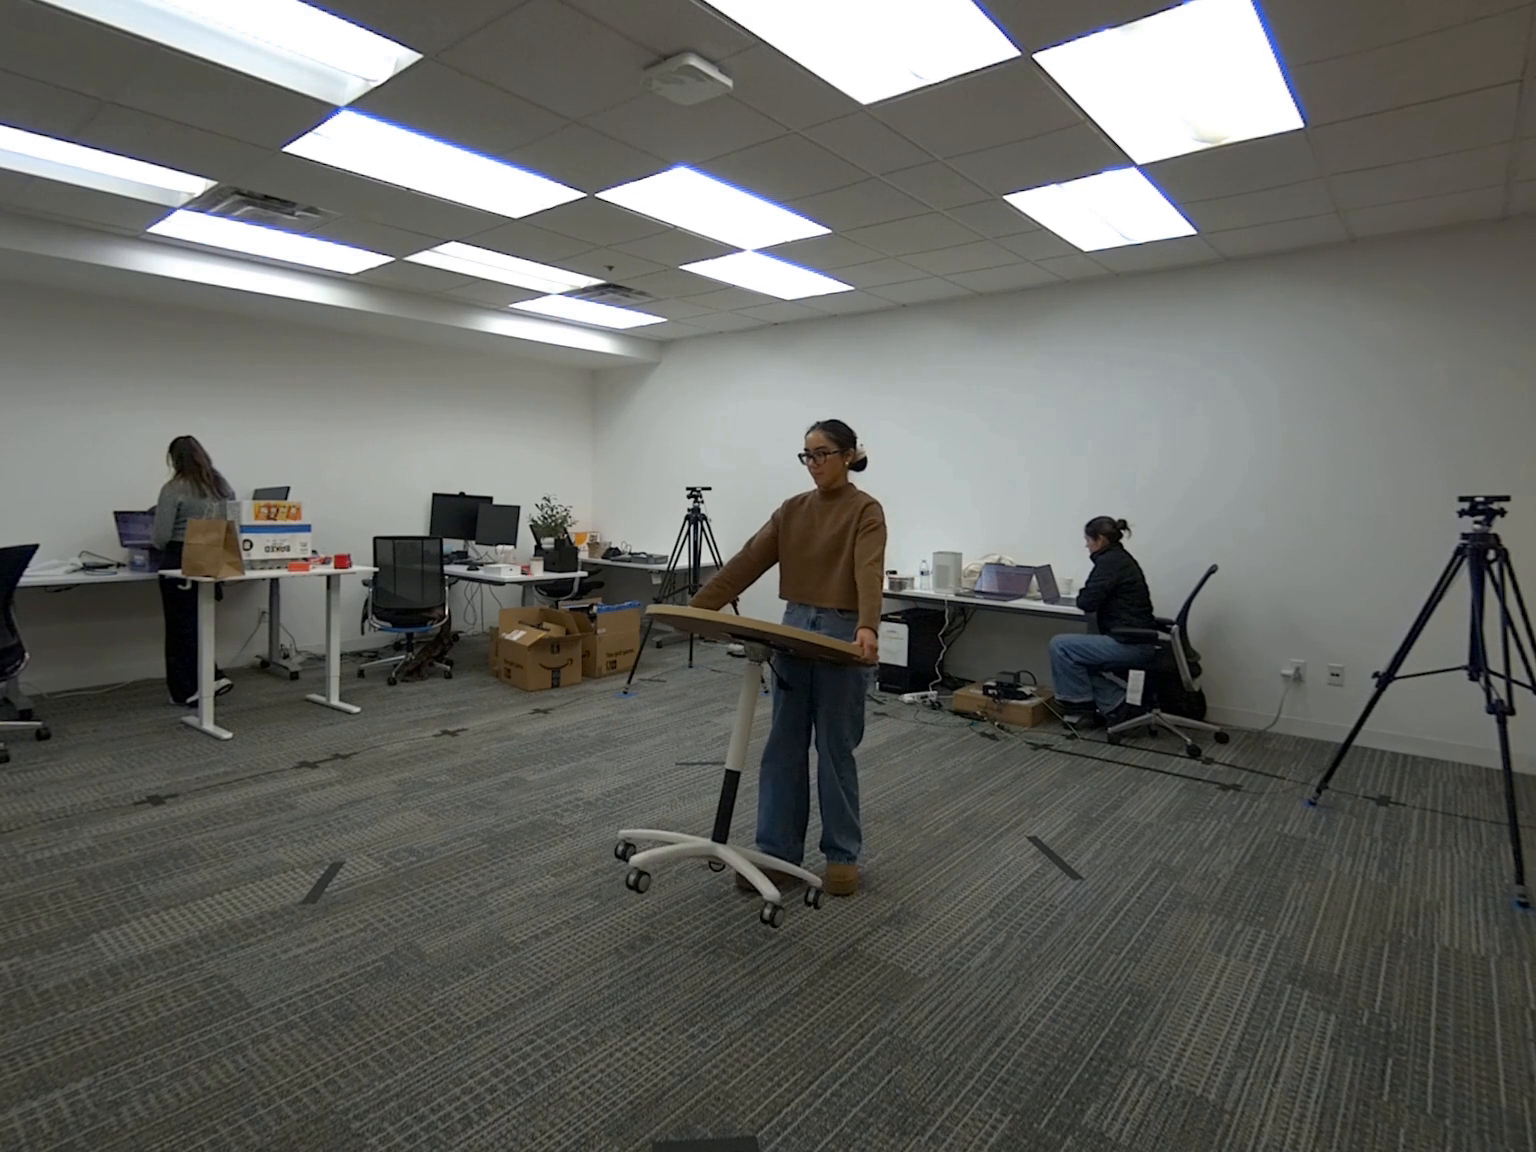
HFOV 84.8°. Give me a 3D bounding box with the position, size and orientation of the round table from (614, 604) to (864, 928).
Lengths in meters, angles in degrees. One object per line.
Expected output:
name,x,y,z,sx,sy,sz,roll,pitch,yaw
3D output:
round table,-0.111,0.571,2.669,0.786,0.792,0.778,11,-10,0
